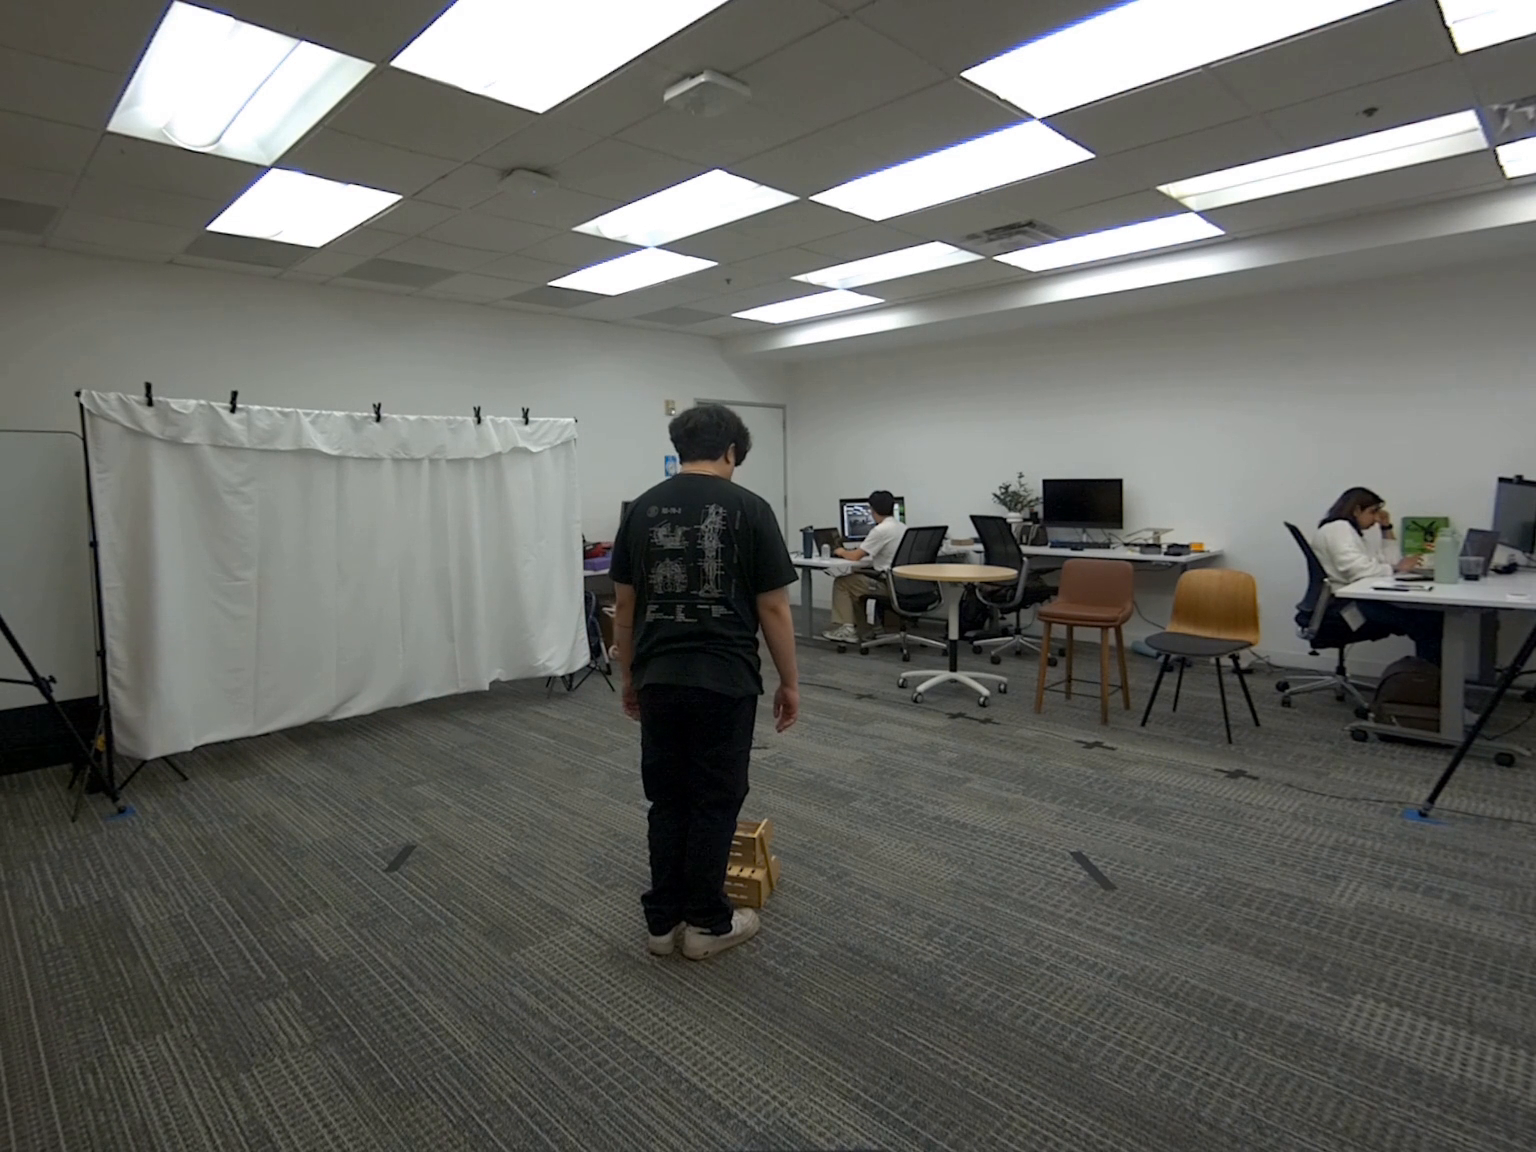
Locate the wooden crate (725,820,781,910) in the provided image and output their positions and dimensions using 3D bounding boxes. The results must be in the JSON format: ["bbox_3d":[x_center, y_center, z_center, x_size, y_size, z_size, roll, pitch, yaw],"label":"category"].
[{"bbox_3d":[-0.141,0.930,2.910,0.330,0.272,0.299,1,7,16],"label":"wooden crate"}]
